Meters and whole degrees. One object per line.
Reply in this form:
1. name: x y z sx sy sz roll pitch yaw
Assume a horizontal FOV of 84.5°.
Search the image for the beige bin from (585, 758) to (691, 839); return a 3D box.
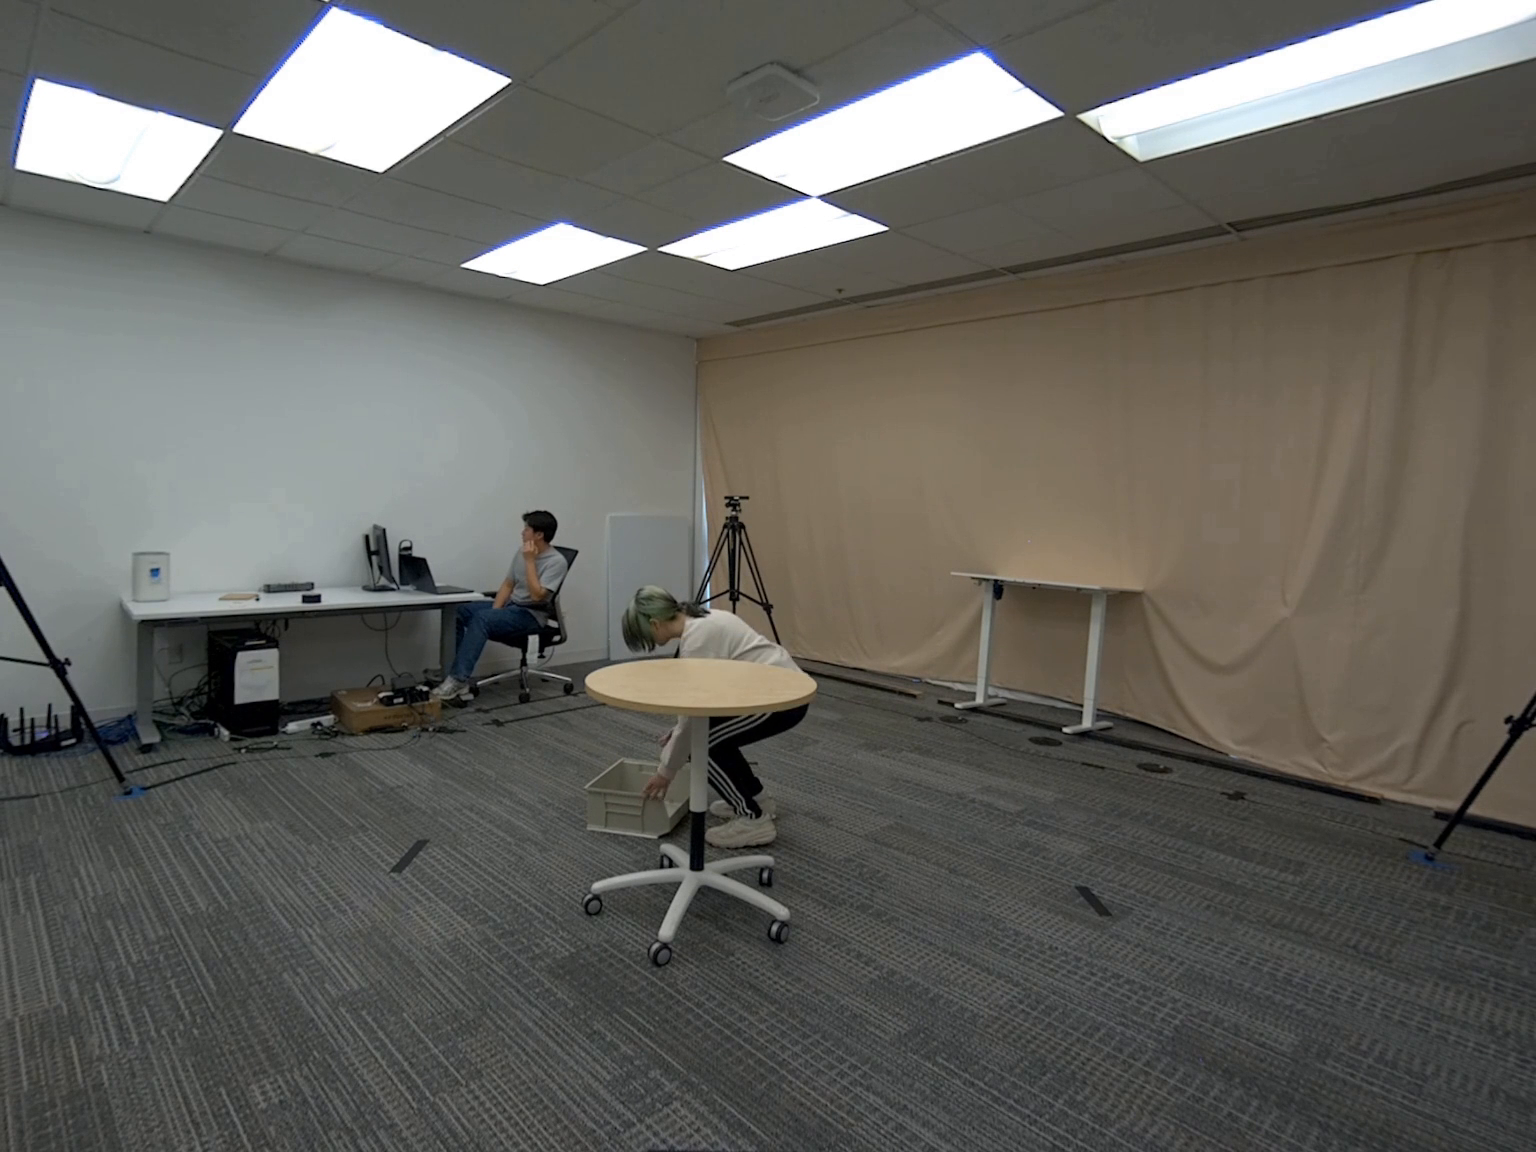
1. beige bin: -0.543 0.956 3.643 0.381 0.188 0.419 2 6 13
